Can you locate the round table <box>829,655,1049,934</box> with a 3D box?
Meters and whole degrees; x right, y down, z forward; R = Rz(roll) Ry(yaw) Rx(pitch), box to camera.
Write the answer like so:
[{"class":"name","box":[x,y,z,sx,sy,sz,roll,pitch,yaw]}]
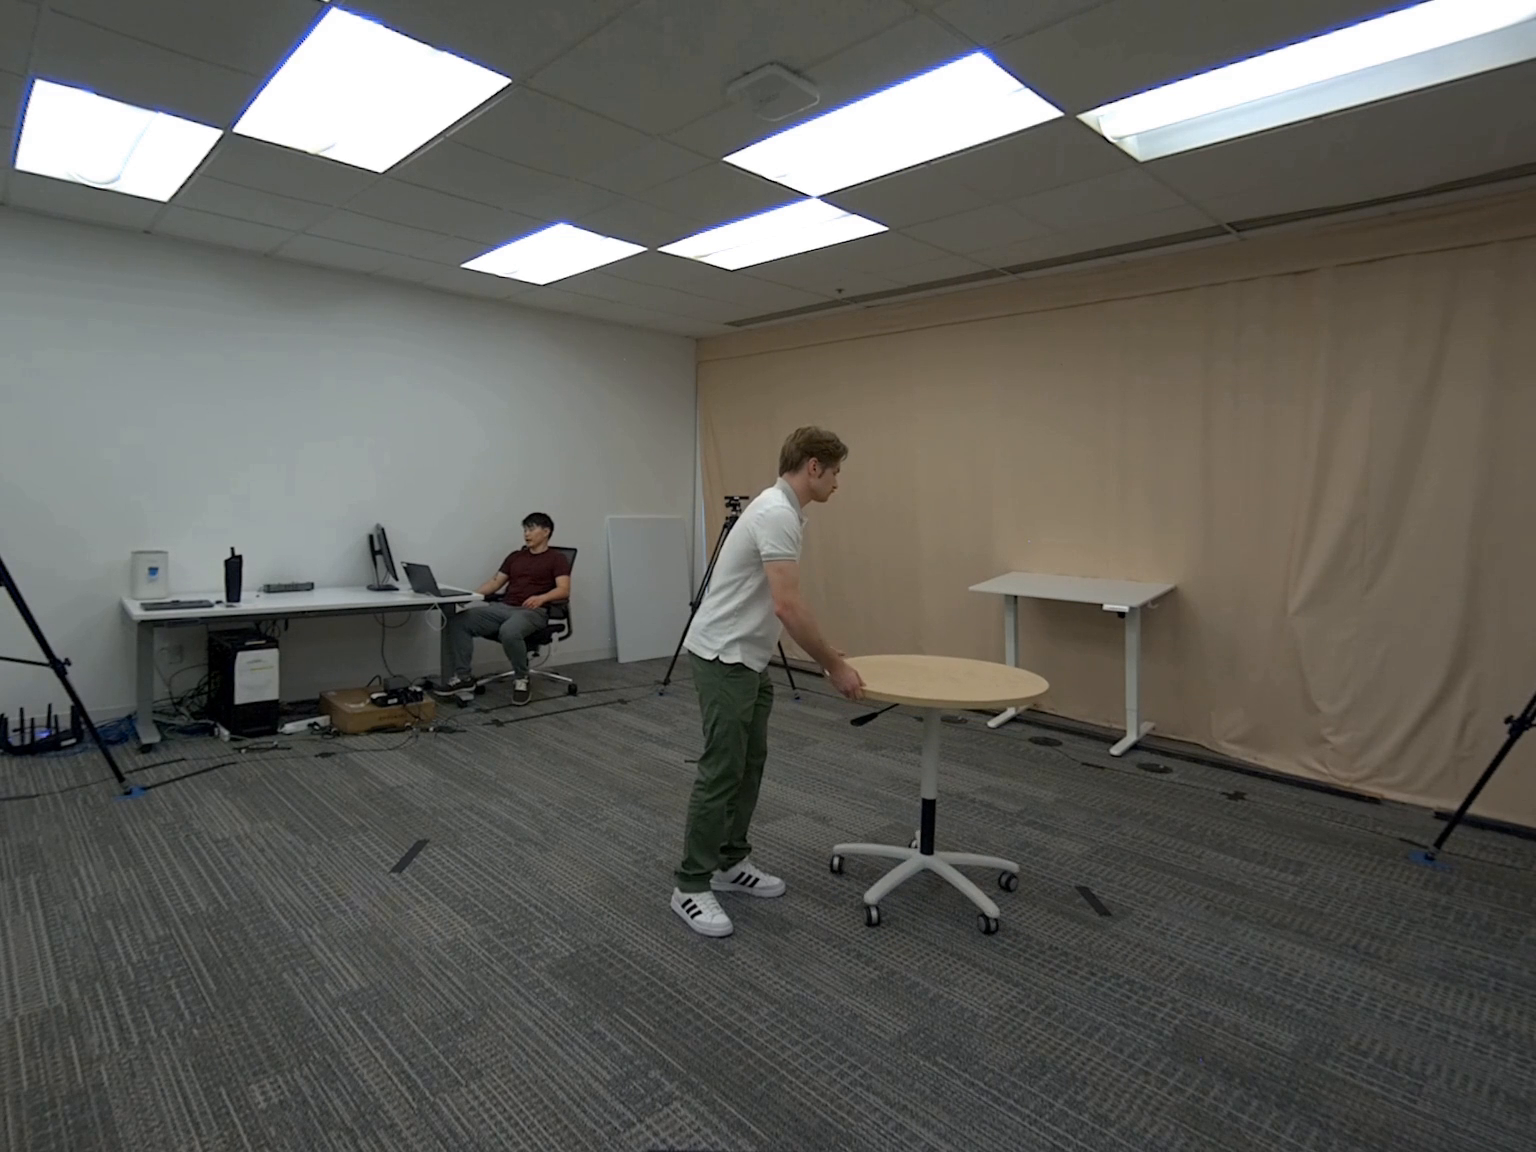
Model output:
[{"class":"round table","box":[0.561,0.739,2.993,0.763,0.792,0.766,2,4,-1]}]
